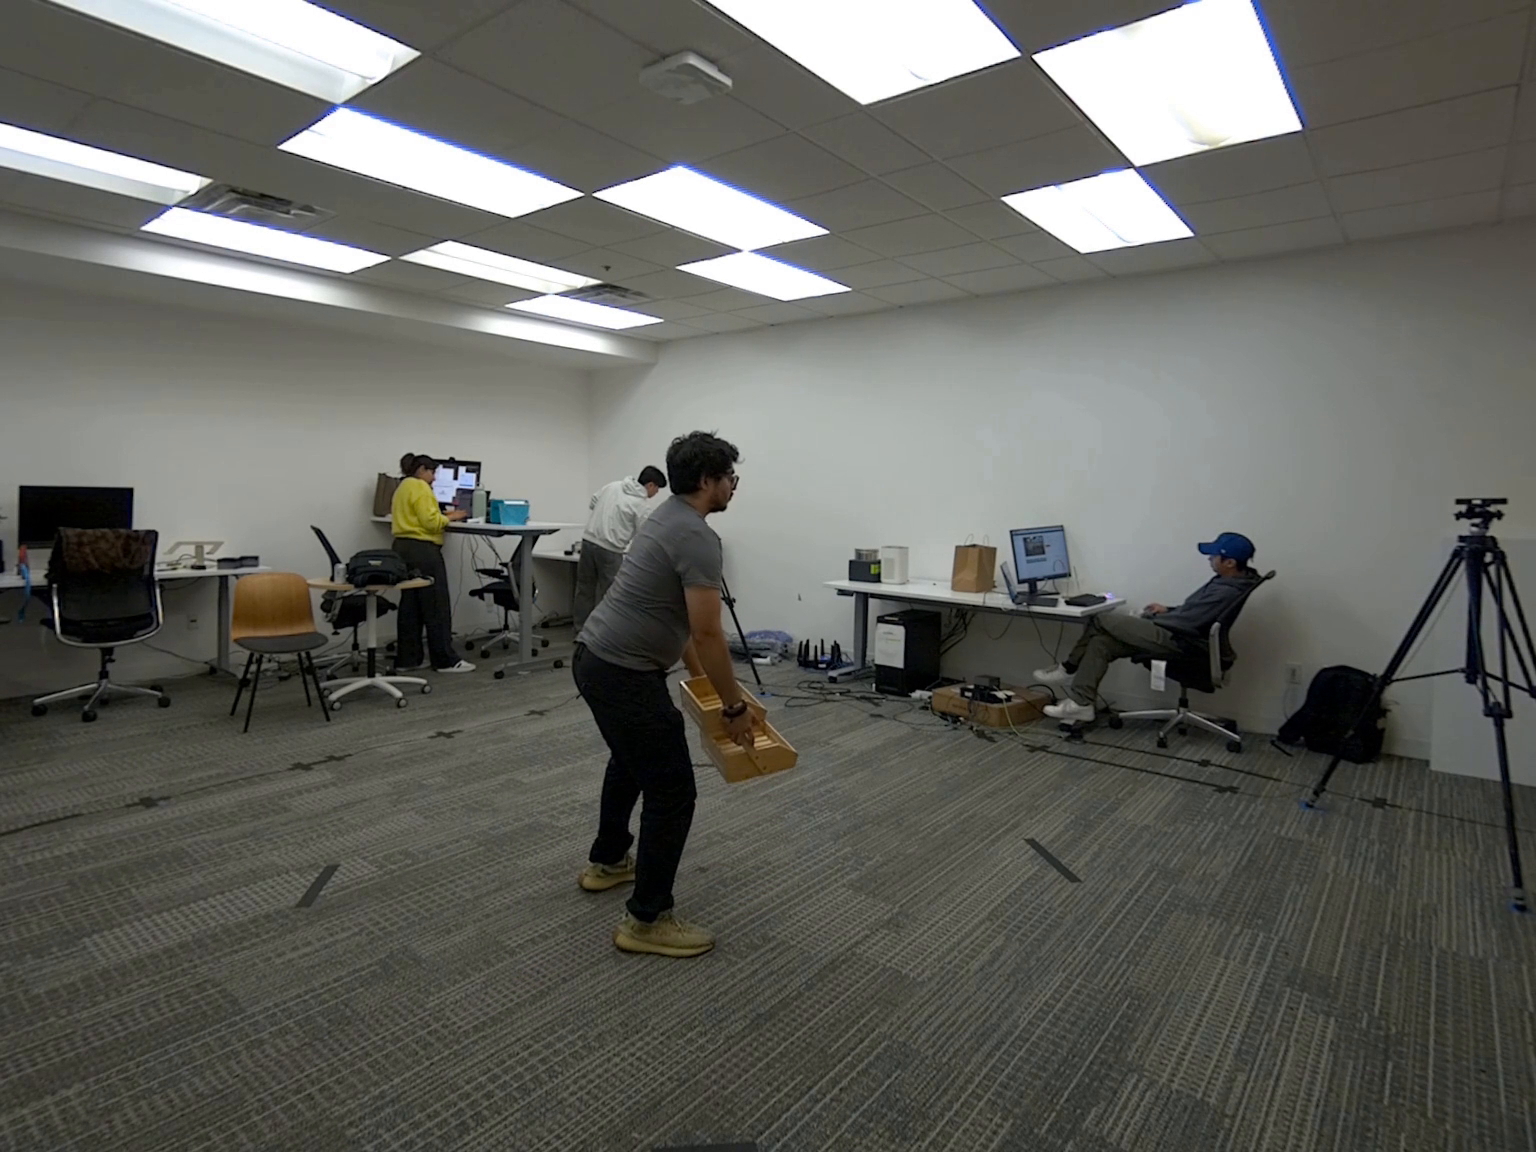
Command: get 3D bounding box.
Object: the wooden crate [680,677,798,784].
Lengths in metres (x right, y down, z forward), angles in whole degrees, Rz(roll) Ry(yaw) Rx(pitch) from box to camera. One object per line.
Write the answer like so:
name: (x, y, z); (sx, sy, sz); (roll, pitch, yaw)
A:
wooden crate: (-0.111, 0.492, 2.838); (0.297, 0.270, 0.333); (-10, 13, -18)
